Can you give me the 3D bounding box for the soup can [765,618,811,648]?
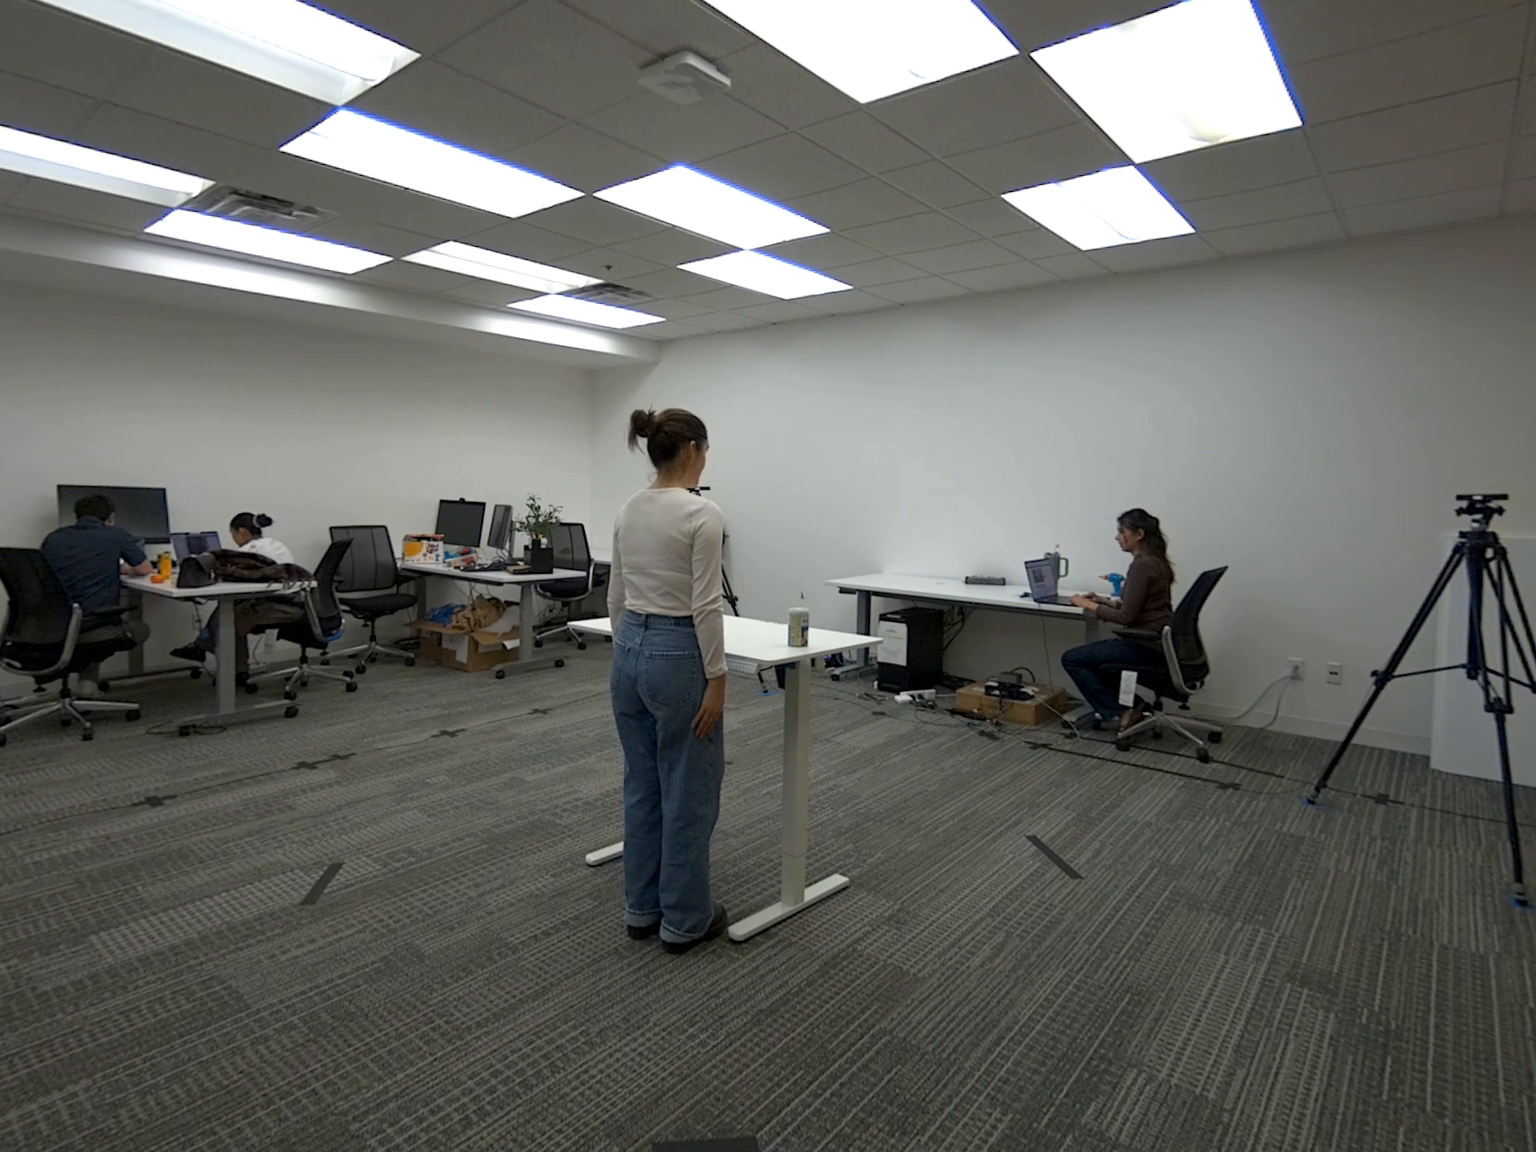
[{"bbox_3d":[0.061,0.180,2.696,0.120,0.067,0.068,8,2,-12],"label":"soup can"}]
